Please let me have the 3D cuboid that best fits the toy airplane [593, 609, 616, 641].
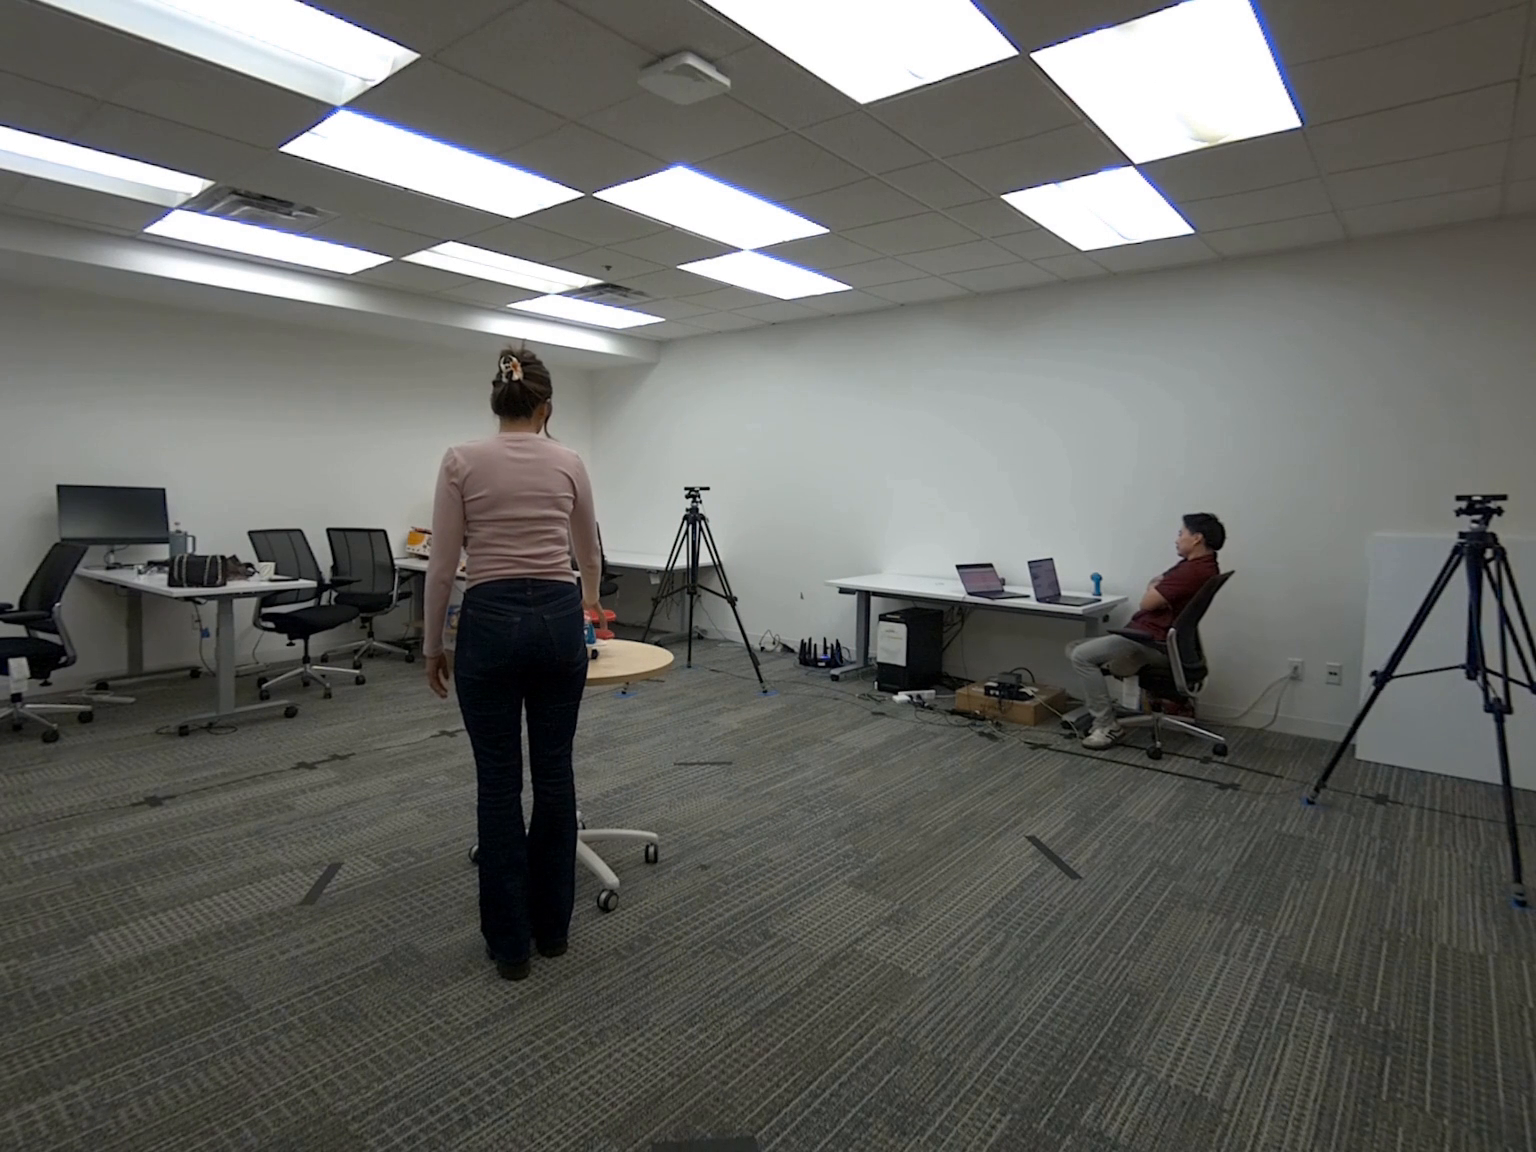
[{"bbox_3d":[-0.658,0.200,3.070,0.268,0.156,0.243,2,2,41],"label":"toy airplane"}]
